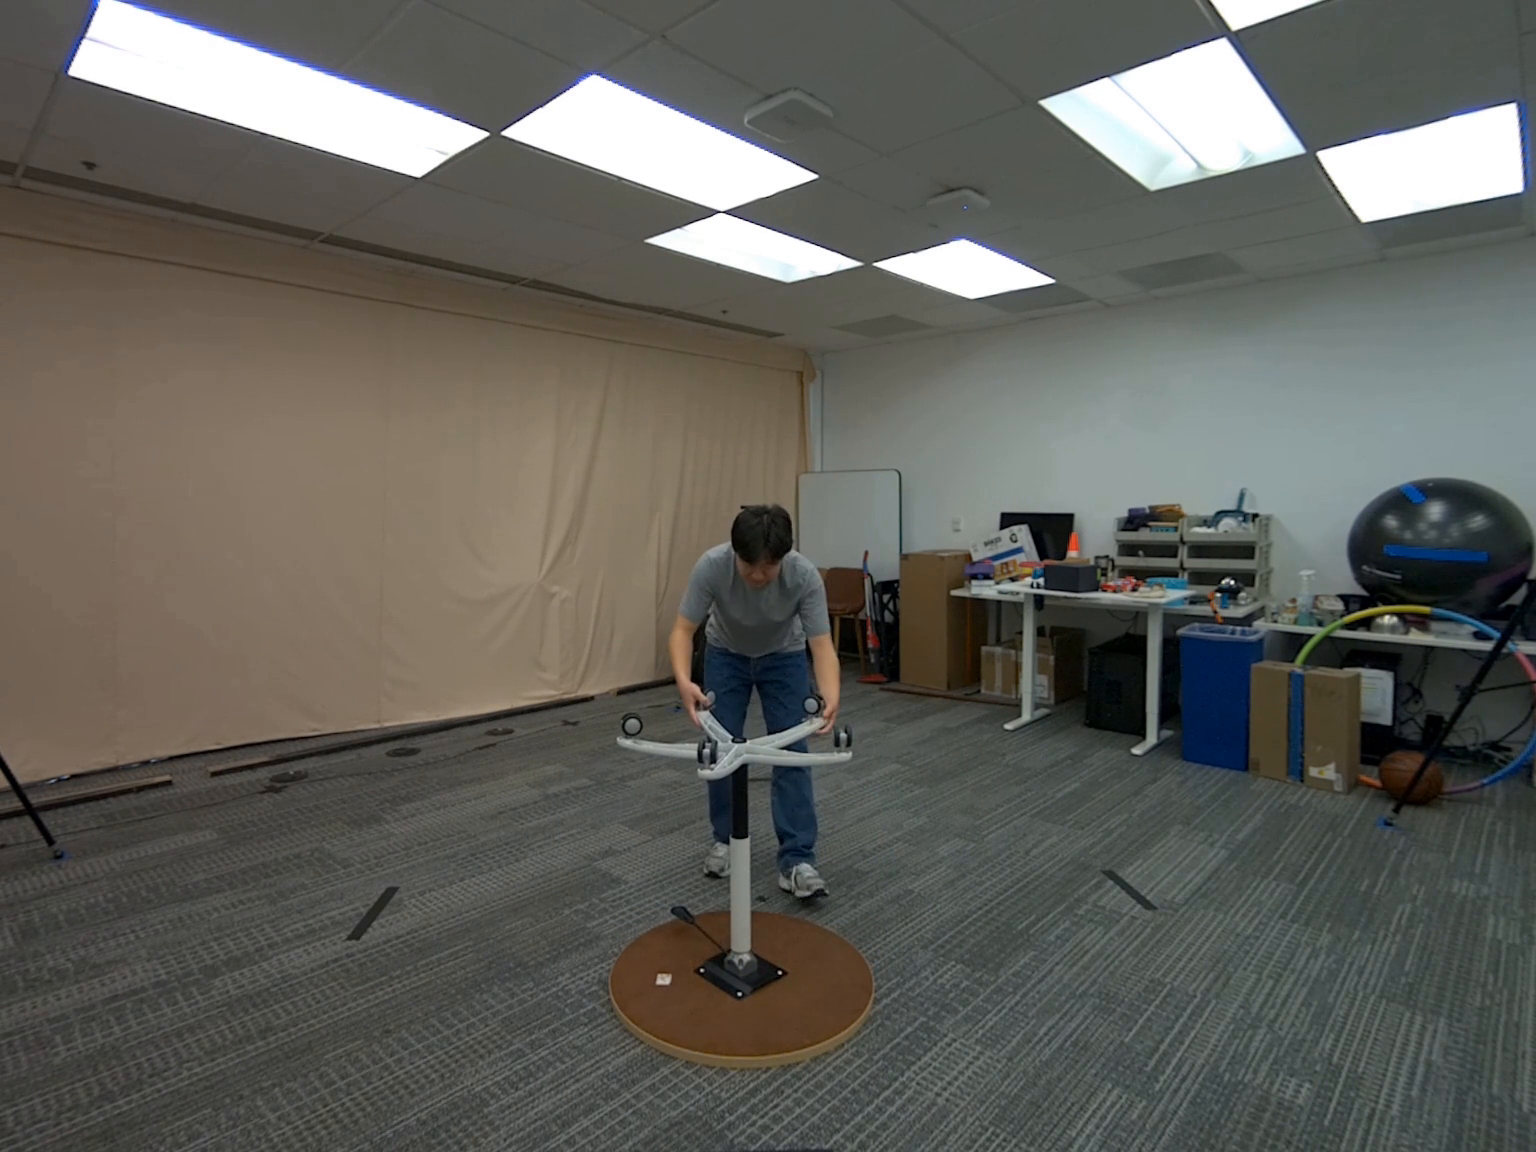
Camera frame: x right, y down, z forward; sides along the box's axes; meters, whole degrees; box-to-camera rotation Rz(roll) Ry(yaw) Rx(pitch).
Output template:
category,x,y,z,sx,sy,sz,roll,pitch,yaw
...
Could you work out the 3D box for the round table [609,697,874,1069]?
category,x,y,z,sx,sy,sz,roll,pitch,yaw
round table,-0.089,0.793,2.449,0.763,0.792,0.767,-1,4,-2
